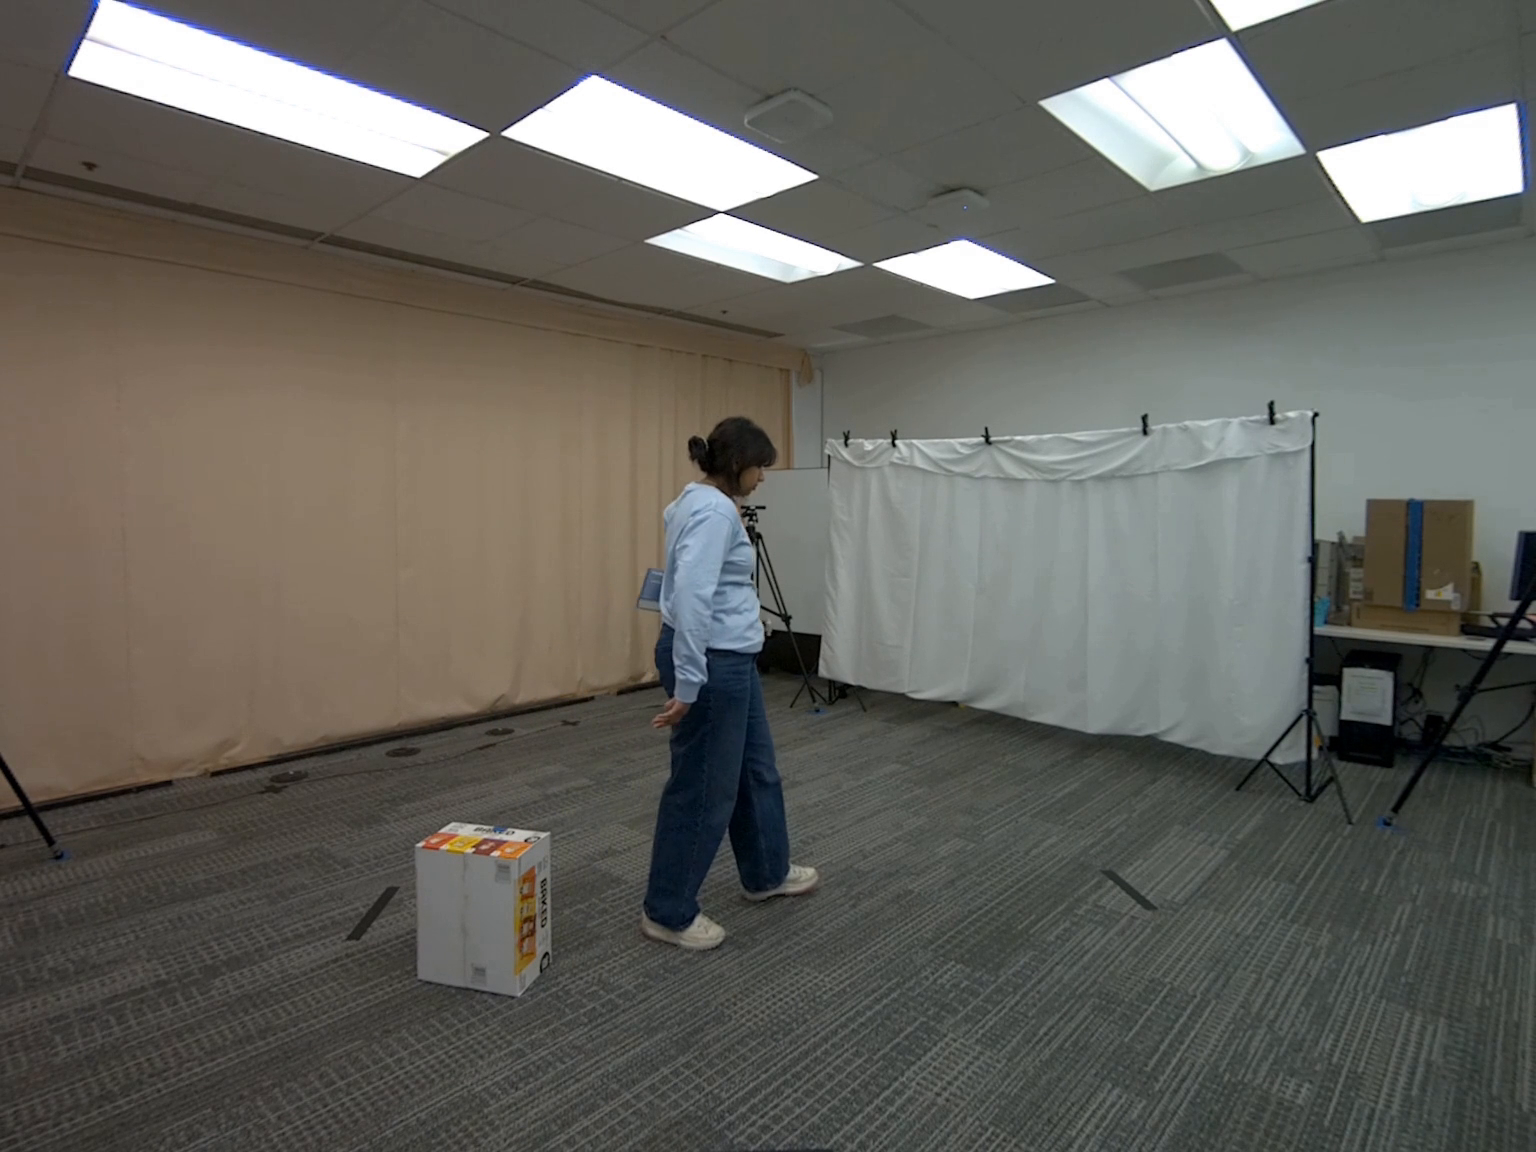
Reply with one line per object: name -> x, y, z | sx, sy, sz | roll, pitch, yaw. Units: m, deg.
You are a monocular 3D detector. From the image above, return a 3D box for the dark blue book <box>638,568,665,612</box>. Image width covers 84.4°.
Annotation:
dark blue book -> -0.352, 0.056, 3.004 | 0.163, 0.045, 0.247 | 8, 25, -1
